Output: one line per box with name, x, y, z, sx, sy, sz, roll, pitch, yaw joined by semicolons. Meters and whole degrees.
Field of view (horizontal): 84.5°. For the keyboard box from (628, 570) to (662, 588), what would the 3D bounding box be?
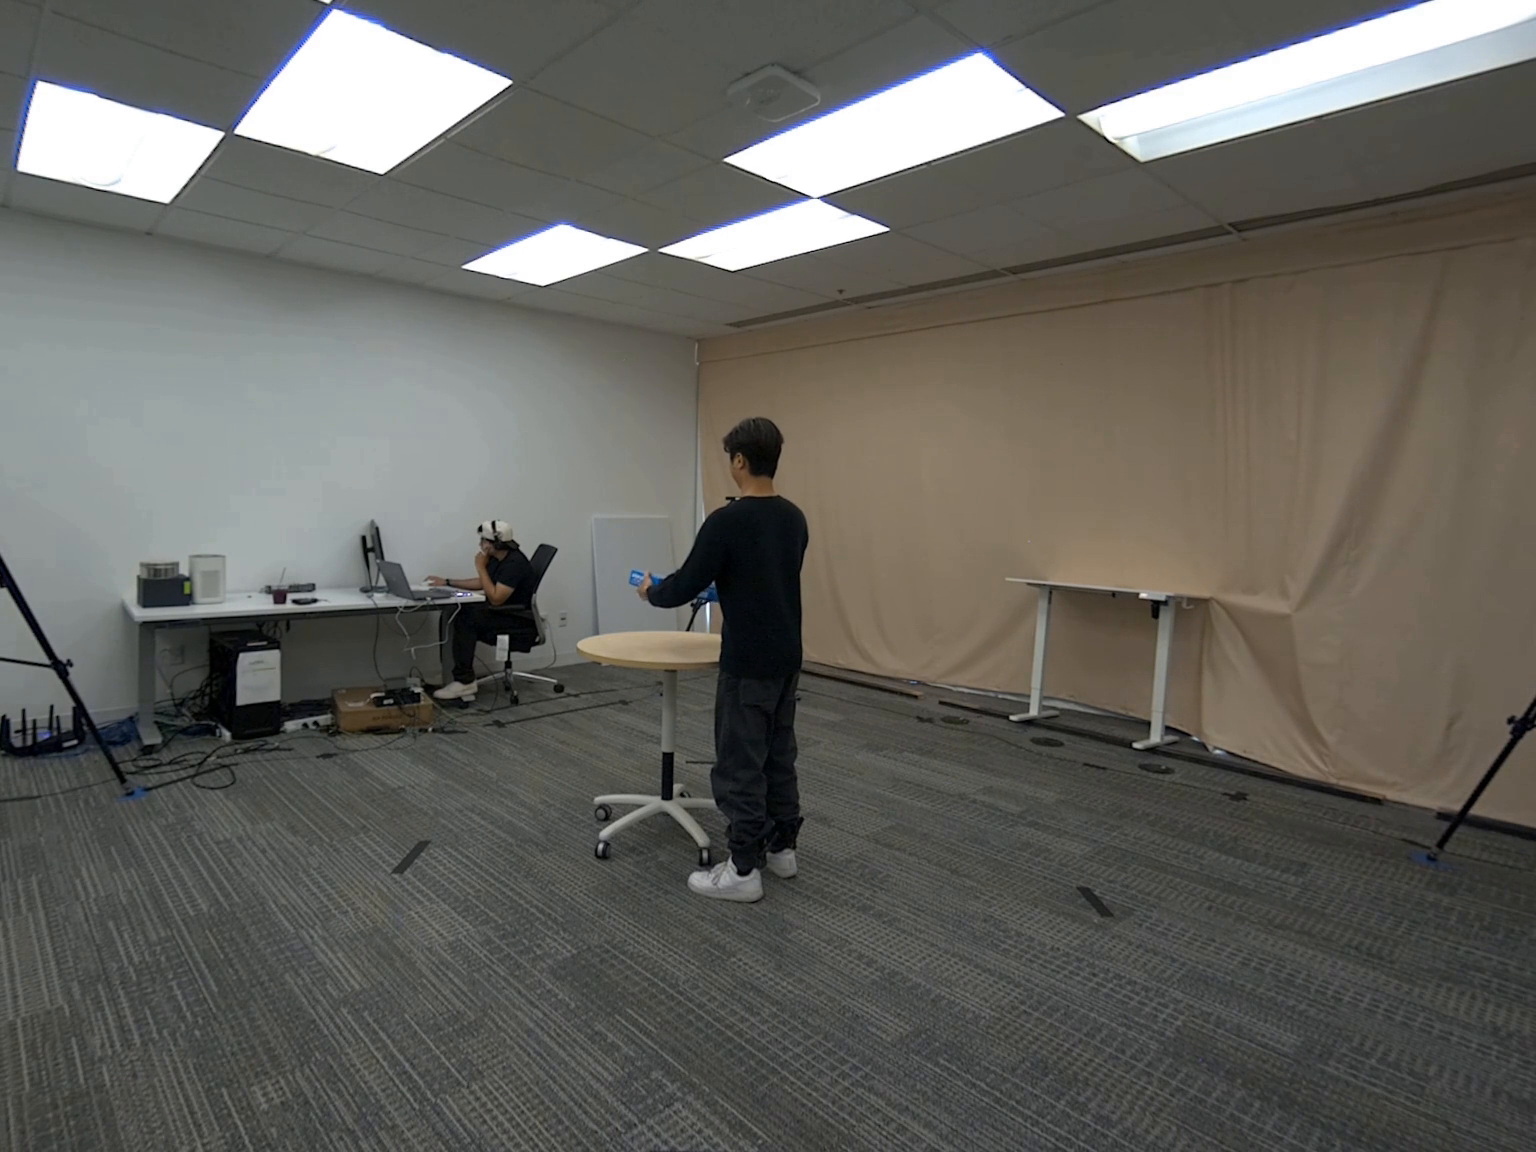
keyboard box;-0.342;0.047;3.406;0.181;0.059;0.425;15;2;44
